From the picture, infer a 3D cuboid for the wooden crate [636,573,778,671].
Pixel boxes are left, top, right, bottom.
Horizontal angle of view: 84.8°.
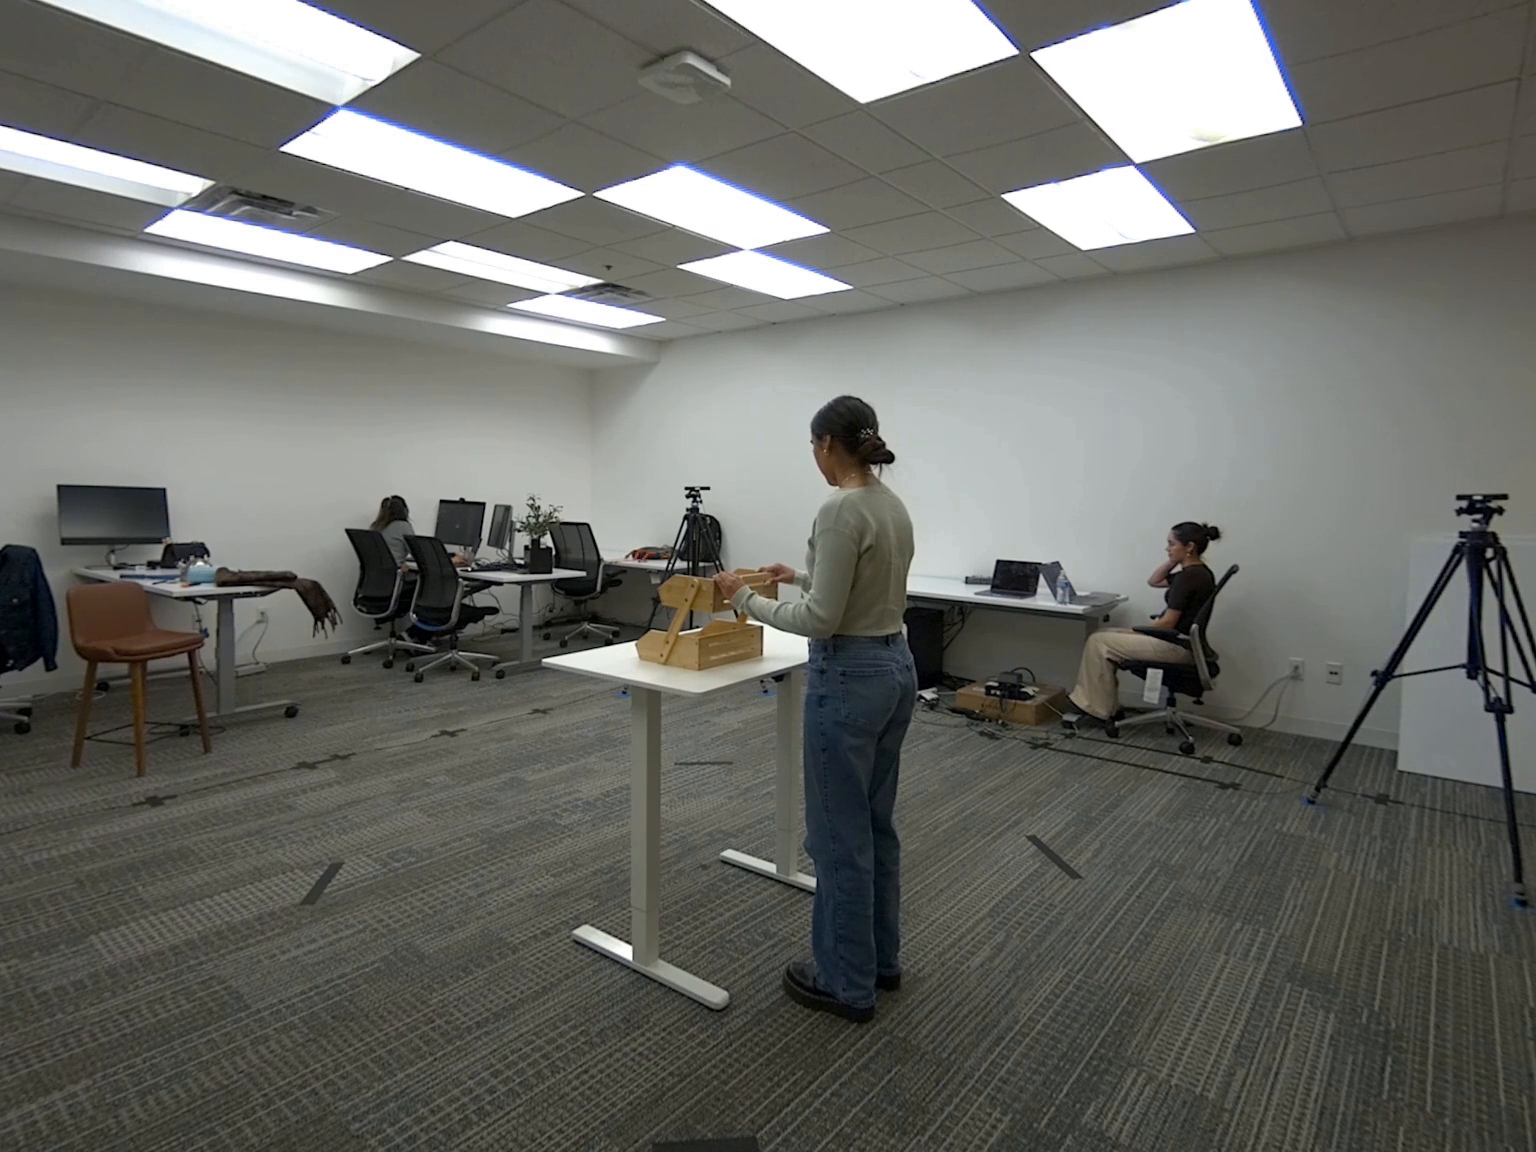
[{"bbox_3d":[-0.190,0.112,2.522,0.312,0.272,0.315,5,6,38],"label":"wooden crate"}]
